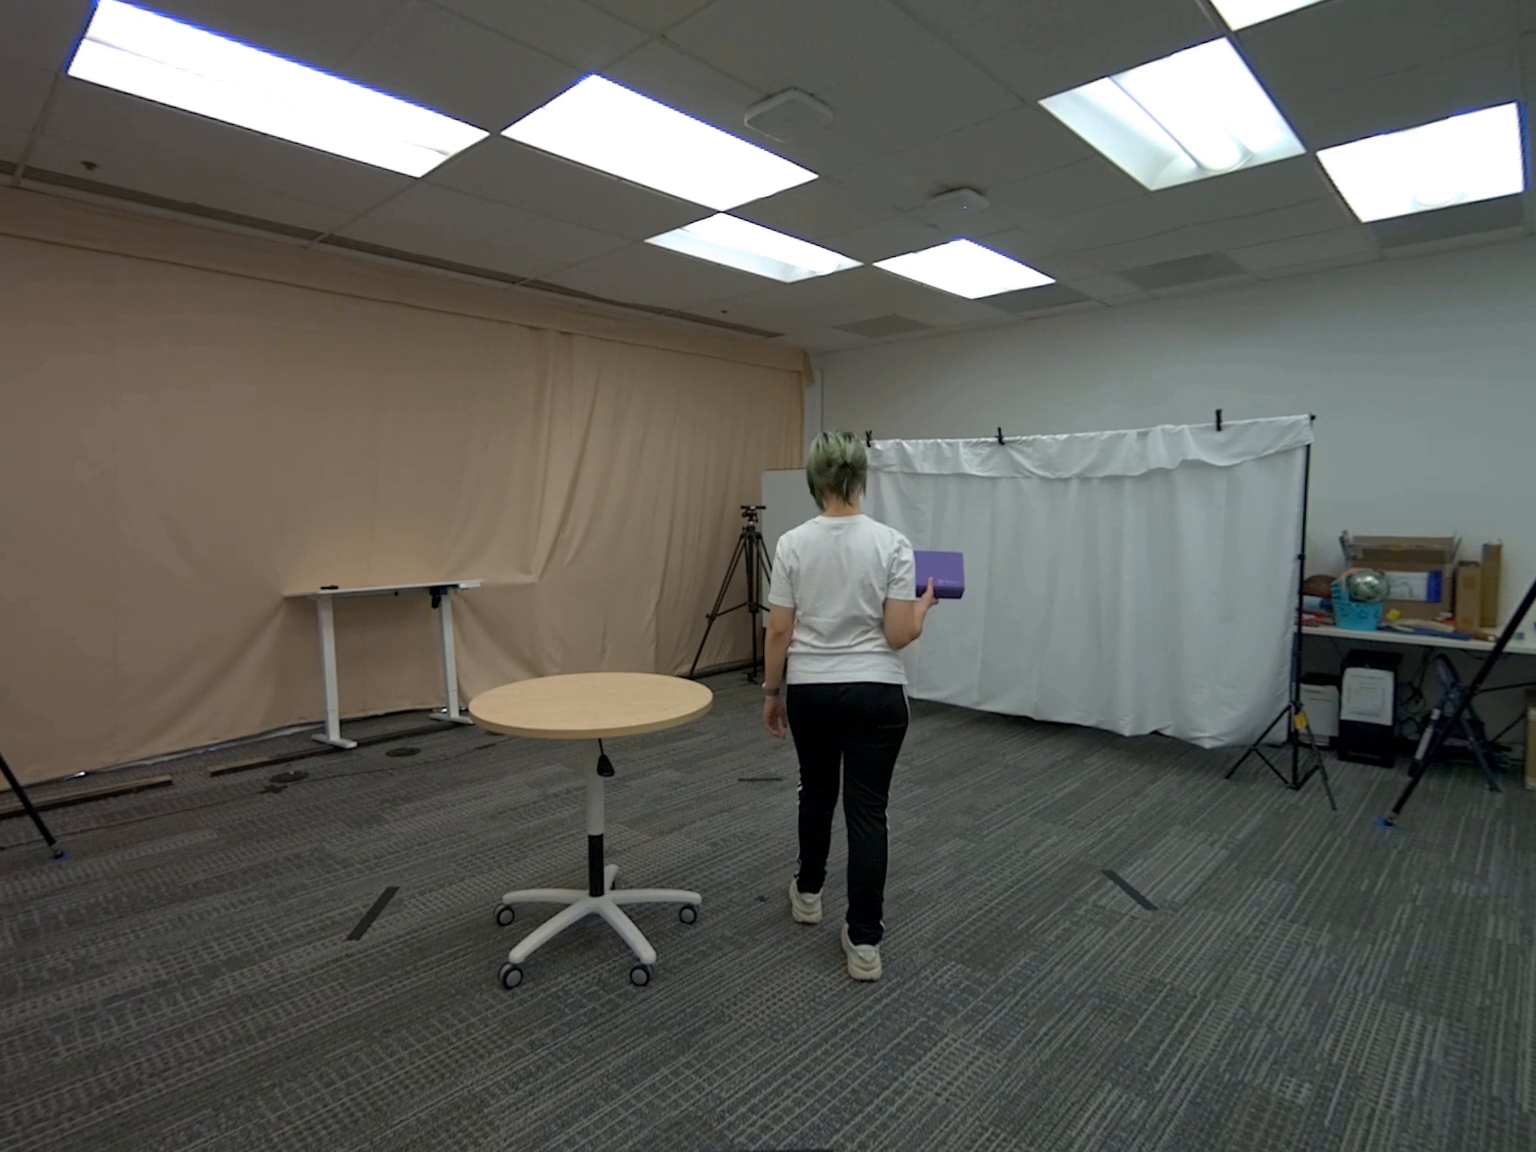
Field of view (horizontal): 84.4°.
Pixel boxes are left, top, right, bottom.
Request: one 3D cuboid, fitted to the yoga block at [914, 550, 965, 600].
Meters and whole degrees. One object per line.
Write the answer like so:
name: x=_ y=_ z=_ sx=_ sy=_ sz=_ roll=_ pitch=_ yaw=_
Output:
yoga block: x=0.535 y=-0.005 z=2.812 sx=0.231 sy=0.151 sz=0.075 roll=2 pitch=-32 yaw=7
